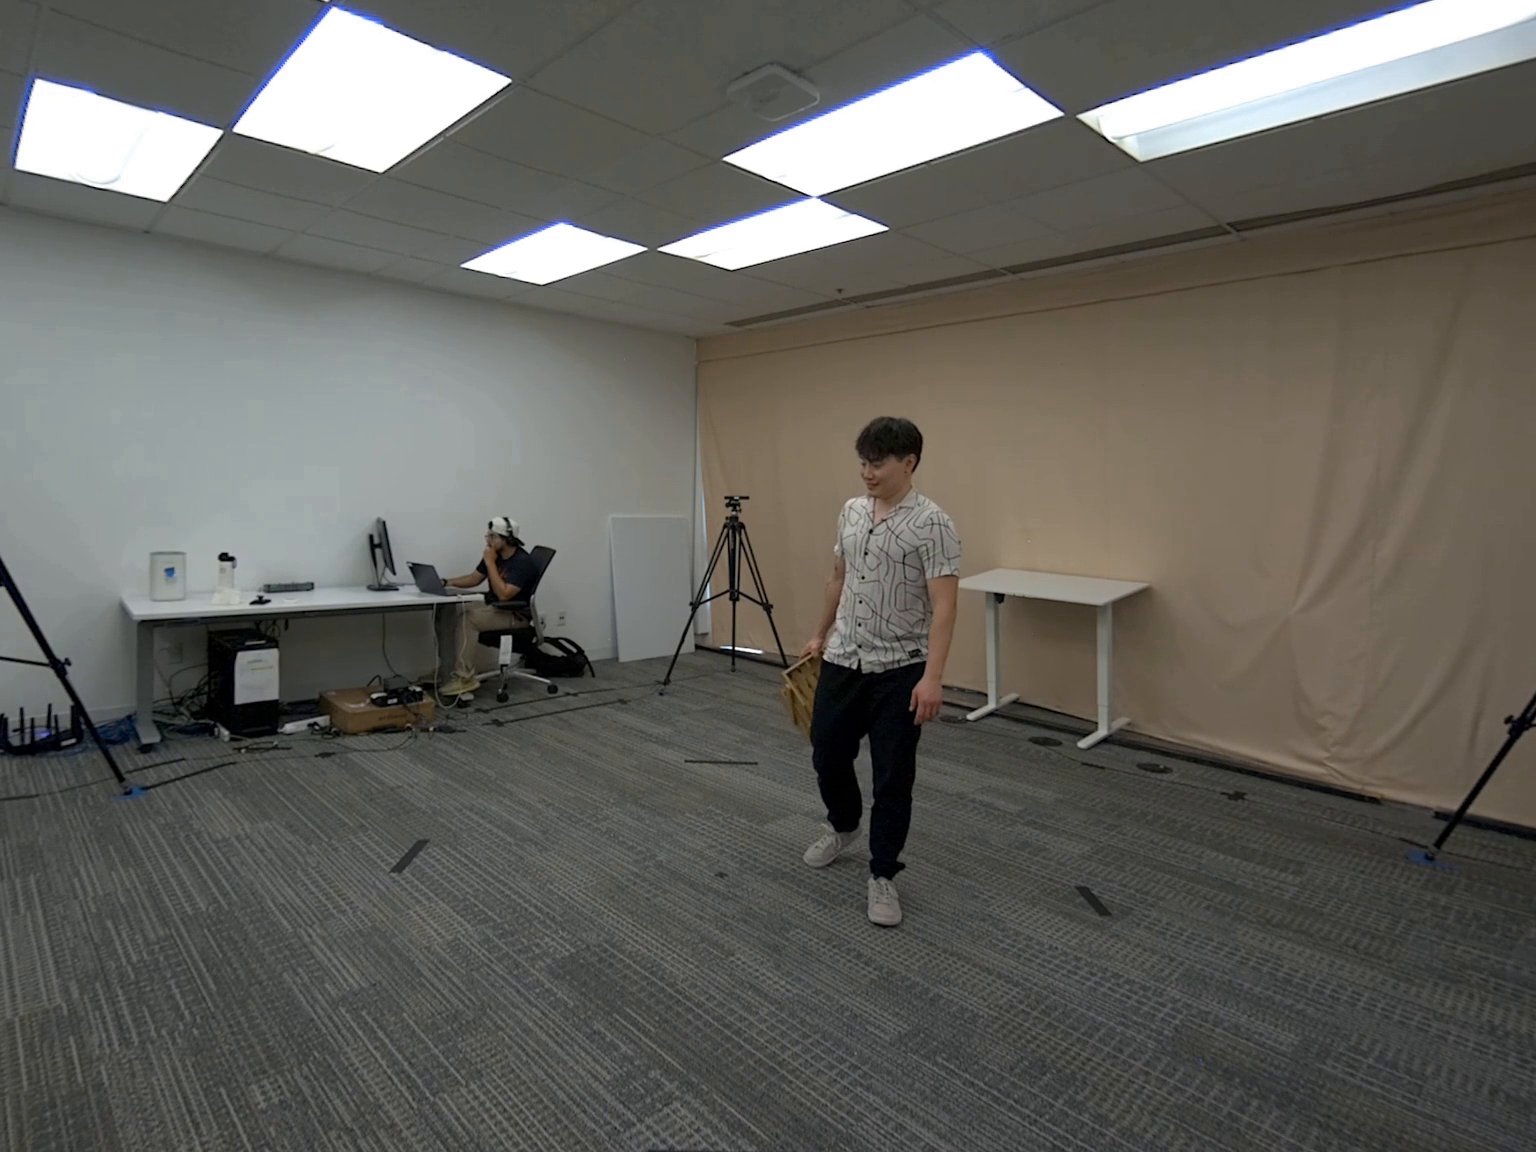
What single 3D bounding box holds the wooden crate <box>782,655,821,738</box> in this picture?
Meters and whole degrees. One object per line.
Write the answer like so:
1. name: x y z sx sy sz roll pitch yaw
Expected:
1. wooden crate: 0.223 0.450 3.286 0.323 0.306 0.271 -31 -12 -18
